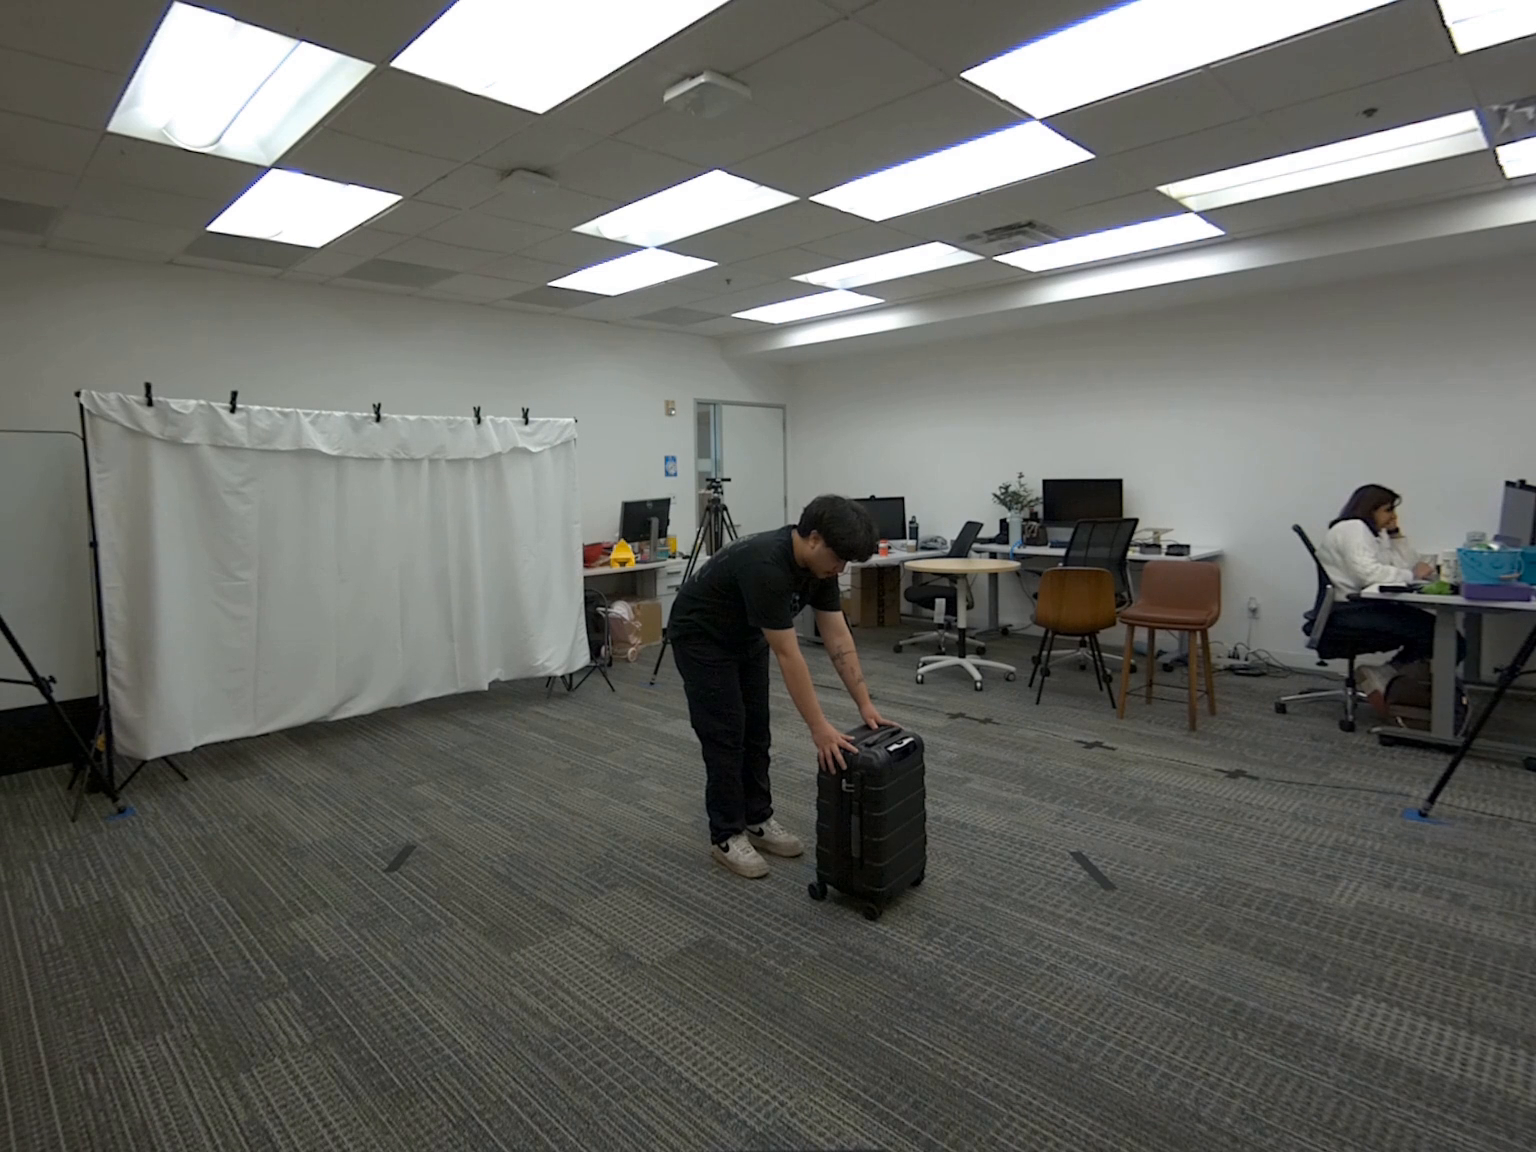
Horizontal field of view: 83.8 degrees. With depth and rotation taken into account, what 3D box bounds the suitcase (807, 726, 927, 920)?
[{"bbox_3d":[0.353,0.793,2.843,0.256,0.547,0.366,4,6,37],"label":"suitcase"}]
